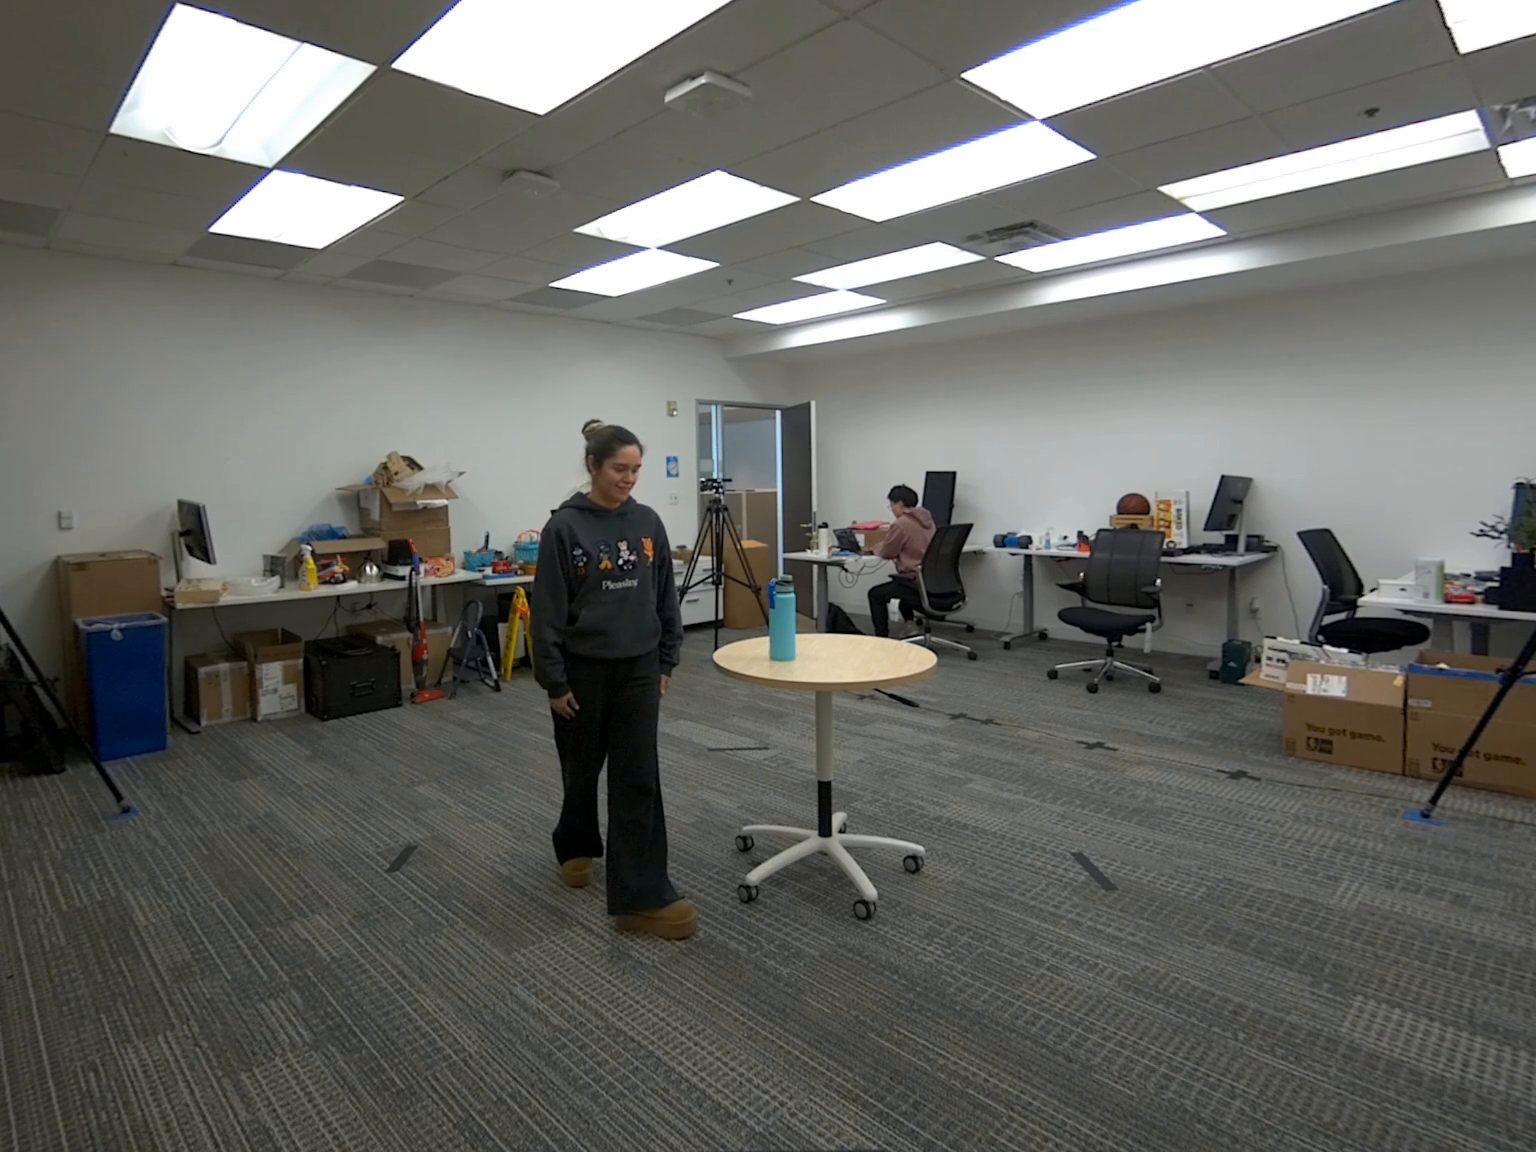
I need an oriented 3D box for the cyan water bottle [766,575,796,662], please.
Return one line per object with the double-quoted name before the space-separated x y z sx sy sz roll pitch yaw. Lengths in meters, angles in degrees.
"cyan water bottle" 0.044 0.143 2.892 0.092 0.282 0.093 -2 4 -1
